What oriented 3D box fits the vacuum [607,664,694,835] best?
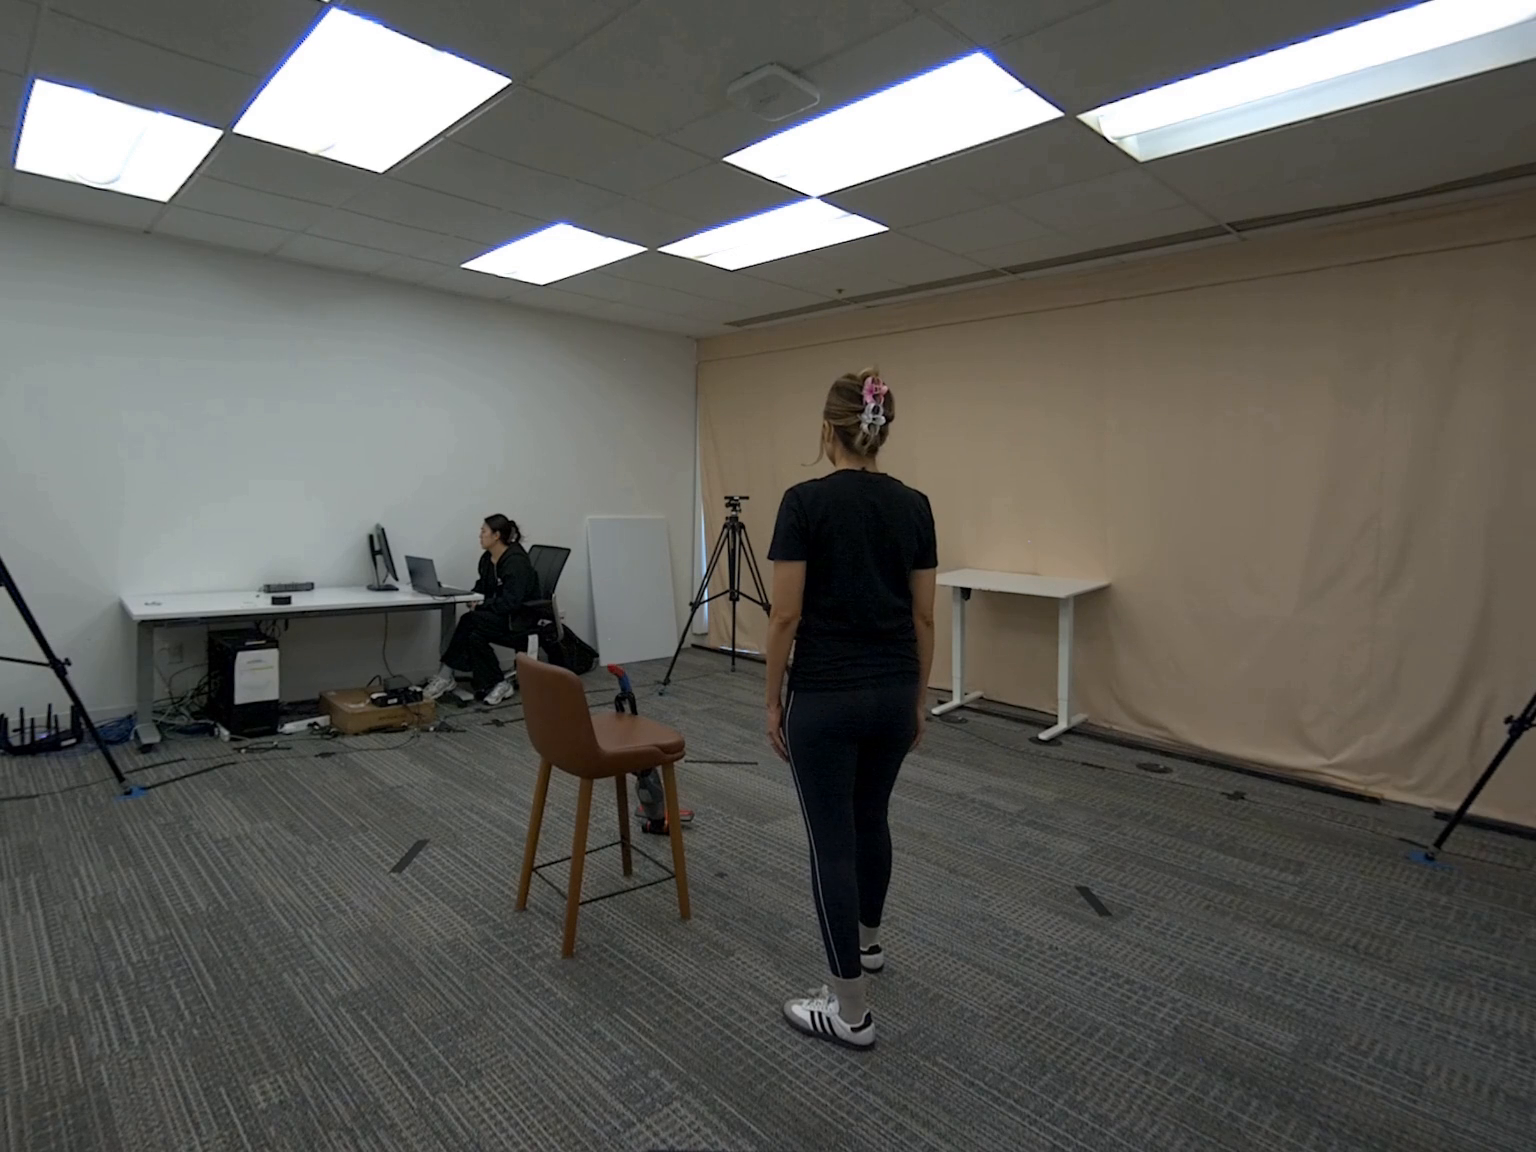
[{"bbox_3d":[-0.491,0.677,3.187,0.255,1.023,0.146,3,45,10],"label":"vacuum"}]
